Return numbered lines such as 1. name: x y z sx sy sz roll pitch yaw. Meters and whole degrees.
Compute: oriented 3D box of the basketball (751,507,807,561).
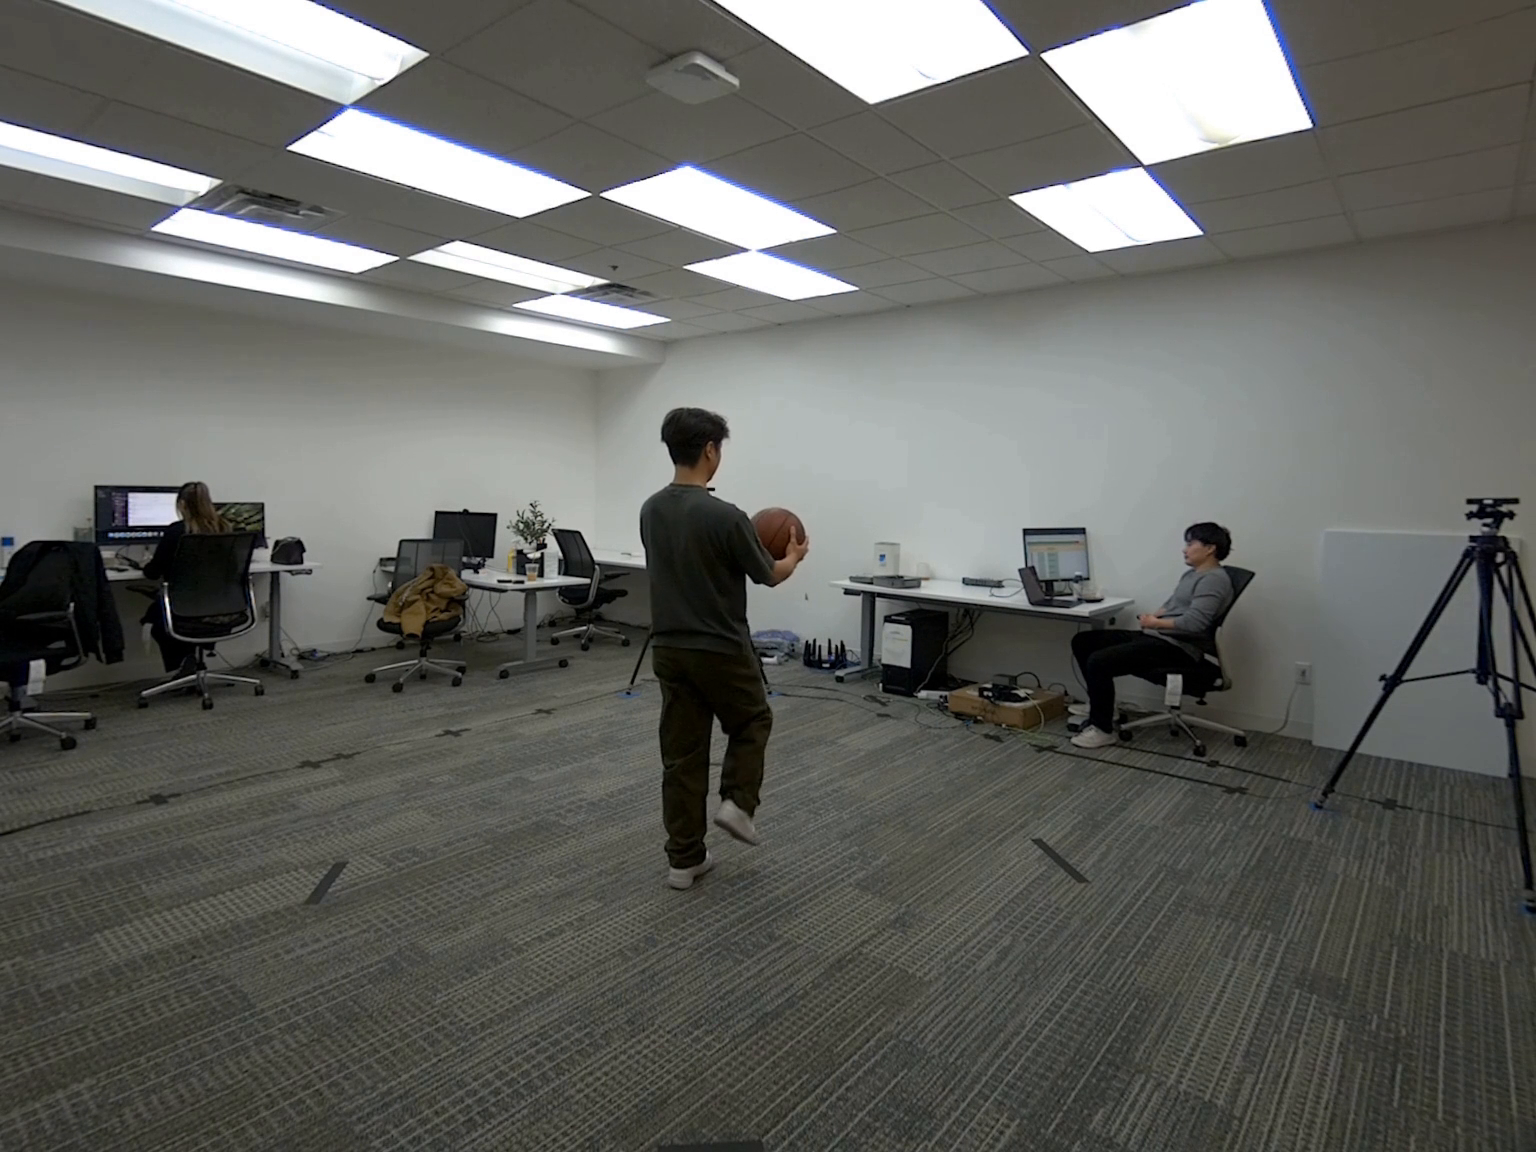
1. basketball: 0.018 -0.141 3.291 0.235 0.235 0.237 1 4 -2
